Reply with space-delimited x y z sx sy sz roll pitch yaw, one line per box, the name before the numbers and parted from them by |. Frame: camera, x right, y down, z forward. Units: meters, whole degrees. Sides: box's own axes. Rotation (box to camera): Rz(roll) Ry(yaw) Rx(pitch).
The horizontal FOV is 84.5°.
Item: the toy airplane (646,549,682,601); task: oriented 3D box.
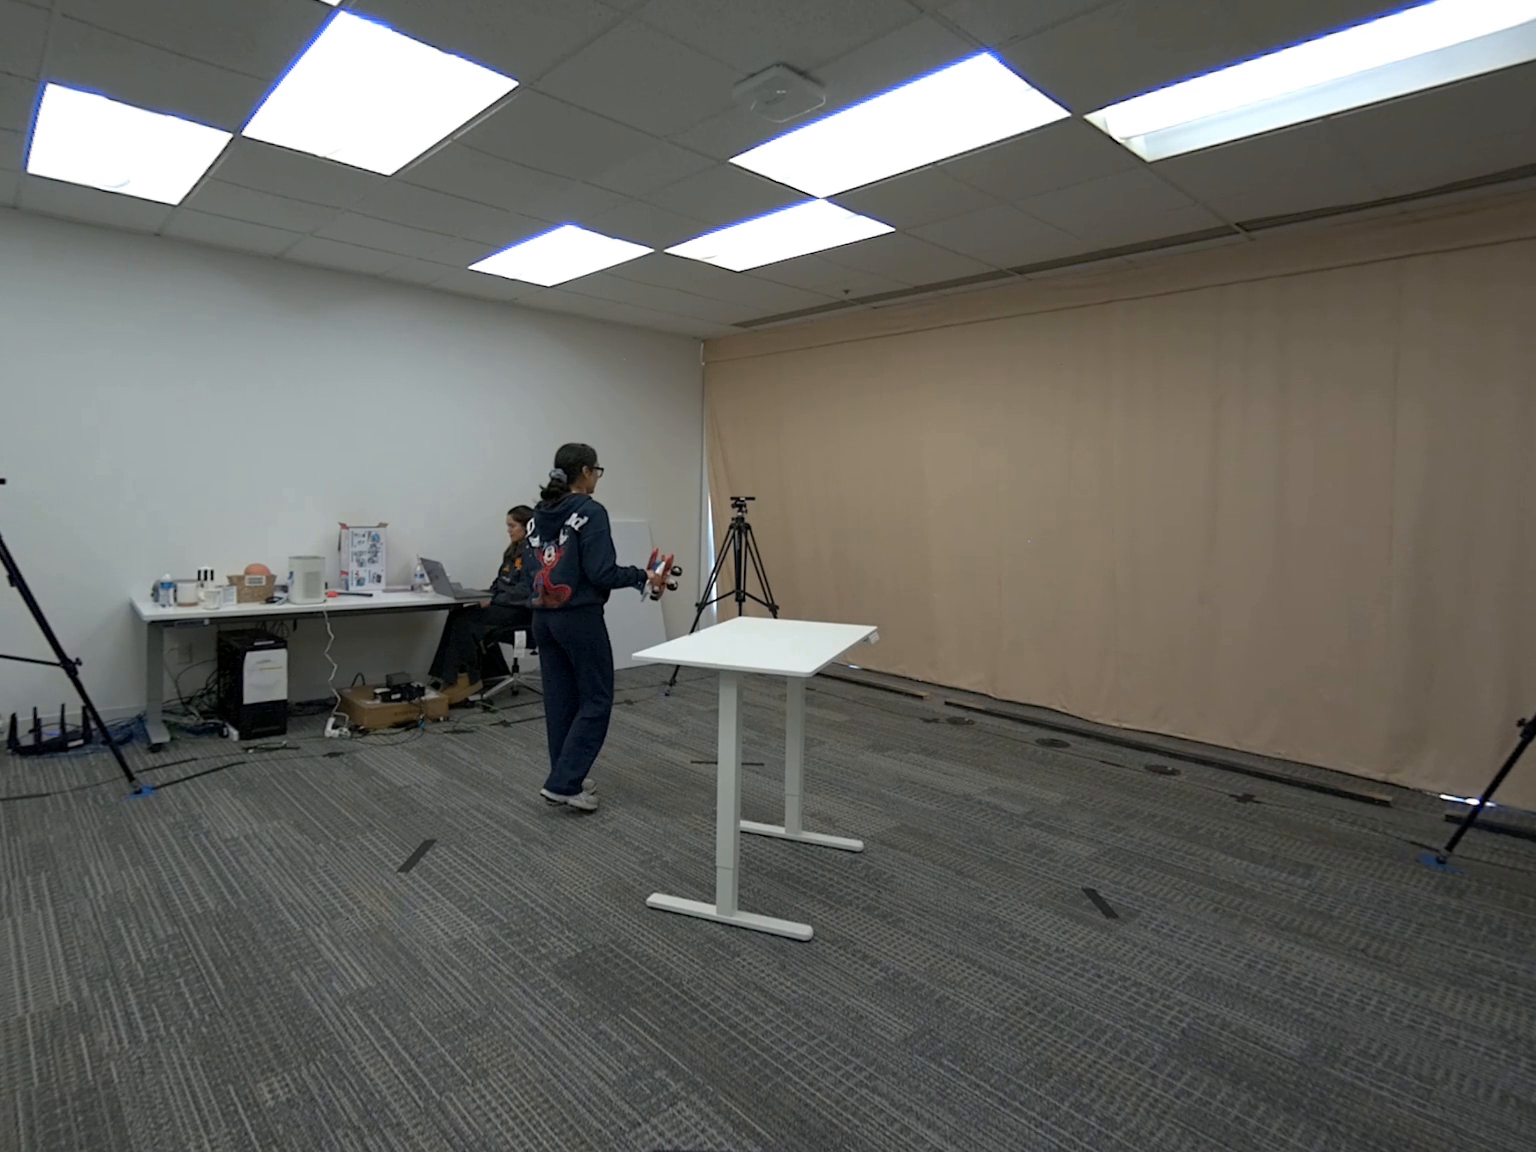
toy airplane | -0.533 0.004 3.884 0.159 0.251 0.254 31 6 18
